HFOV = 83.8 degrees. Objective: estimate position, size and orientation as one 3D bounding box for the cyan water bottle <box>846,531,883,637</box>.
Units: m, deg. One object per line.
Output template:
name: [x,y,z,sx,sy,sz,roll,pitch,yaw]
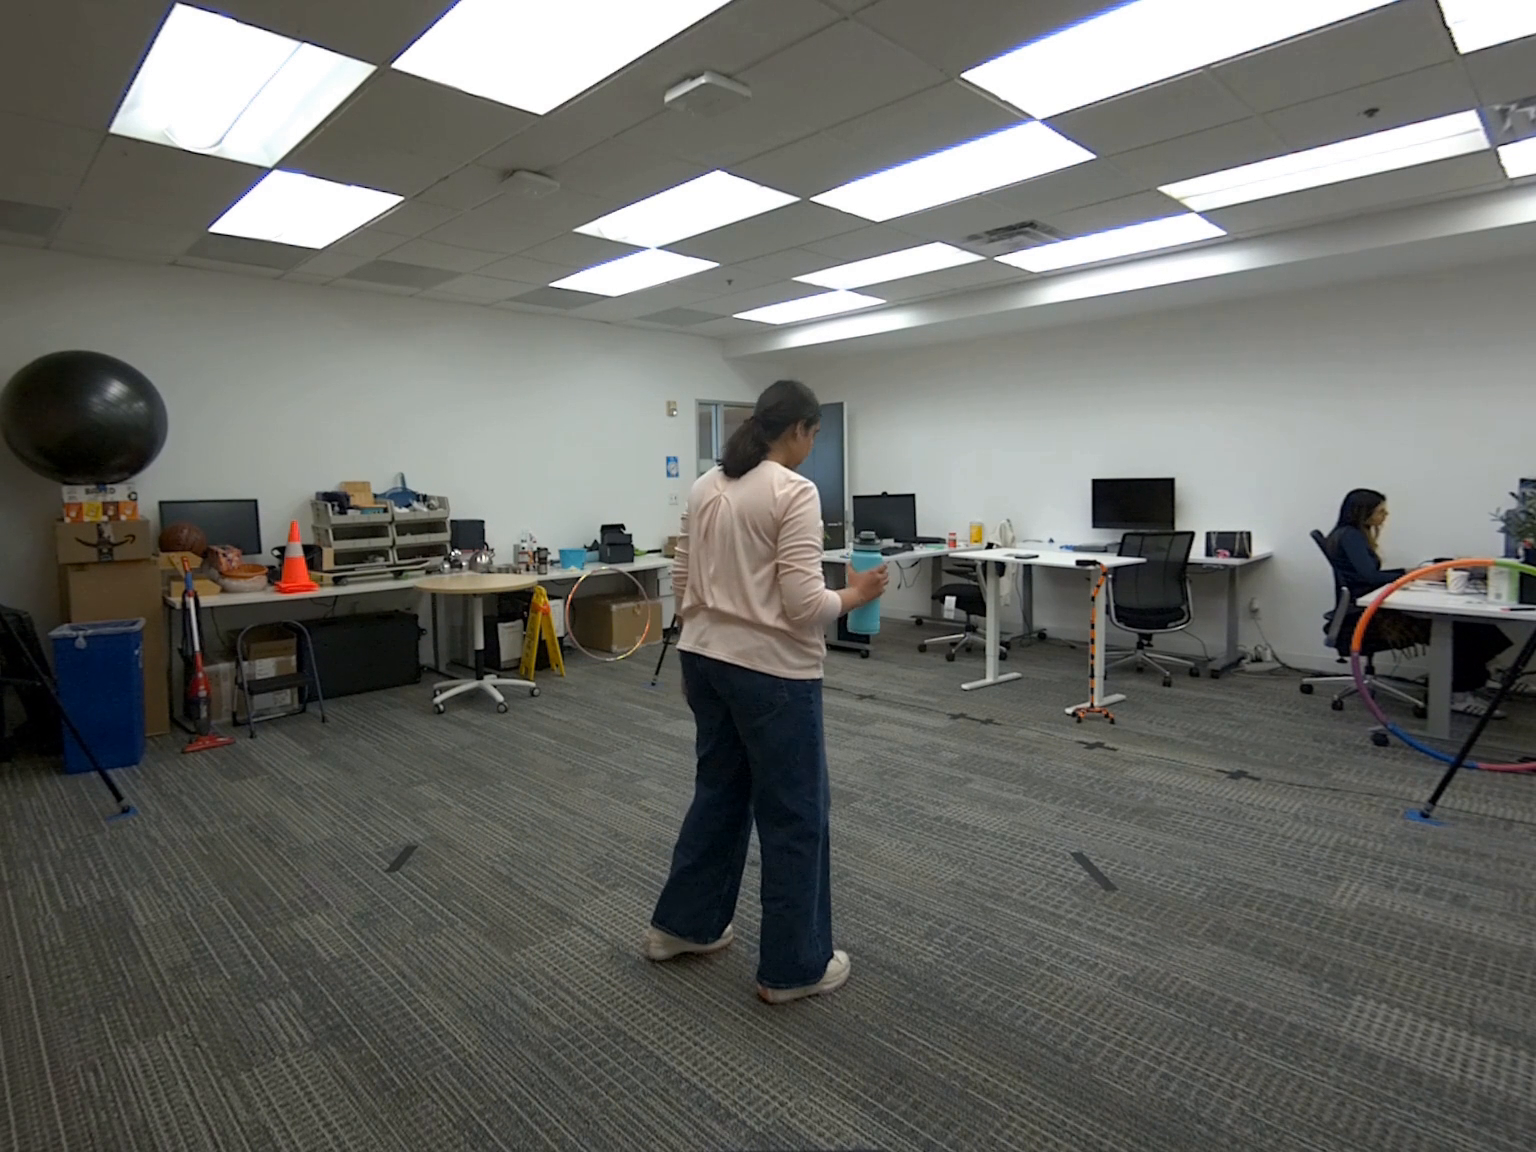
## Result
cyan water bottle: [0.270,0.016,2.409,0.092,0.283,0.092,3,0,-2]
